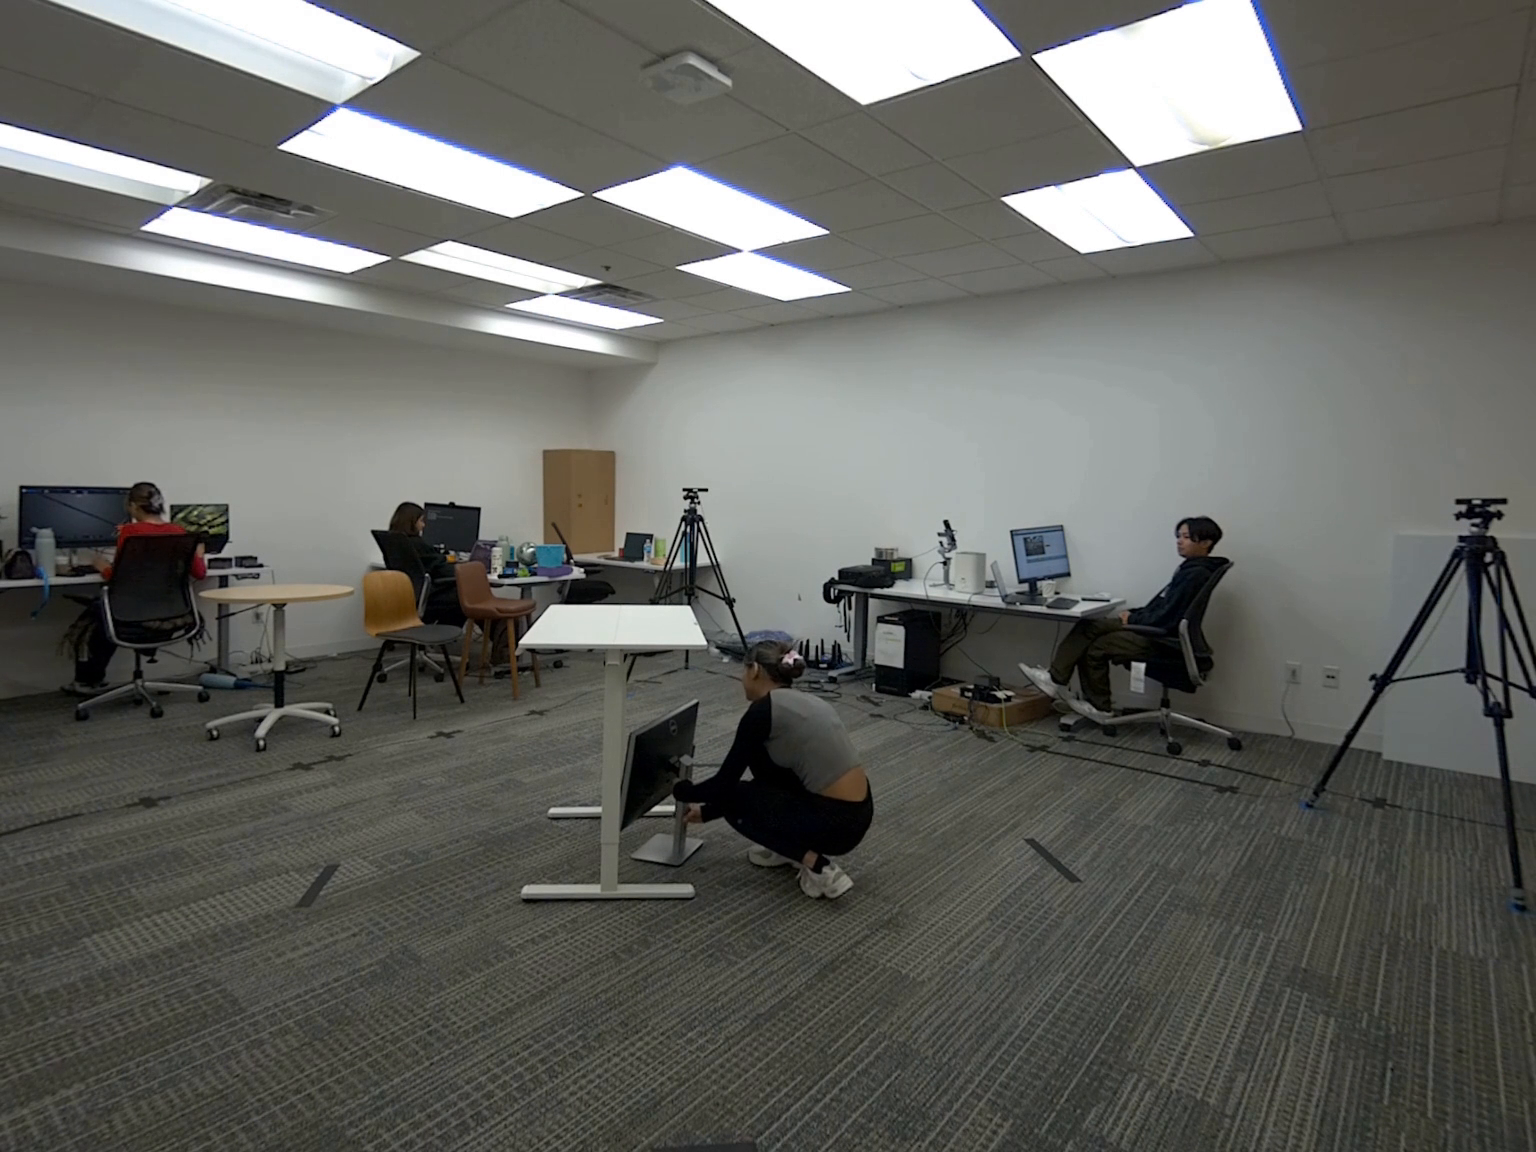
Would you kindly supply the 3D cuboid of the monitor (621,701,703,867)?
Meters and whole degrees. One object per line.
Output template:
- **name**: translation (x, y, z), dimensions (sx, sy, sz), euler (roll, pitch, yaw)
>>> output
- **monitor**: translation (-0.393, 0.794, 3.255), dimensions (0.191, 0.521, 0.530), euler (0, 4, 19)
